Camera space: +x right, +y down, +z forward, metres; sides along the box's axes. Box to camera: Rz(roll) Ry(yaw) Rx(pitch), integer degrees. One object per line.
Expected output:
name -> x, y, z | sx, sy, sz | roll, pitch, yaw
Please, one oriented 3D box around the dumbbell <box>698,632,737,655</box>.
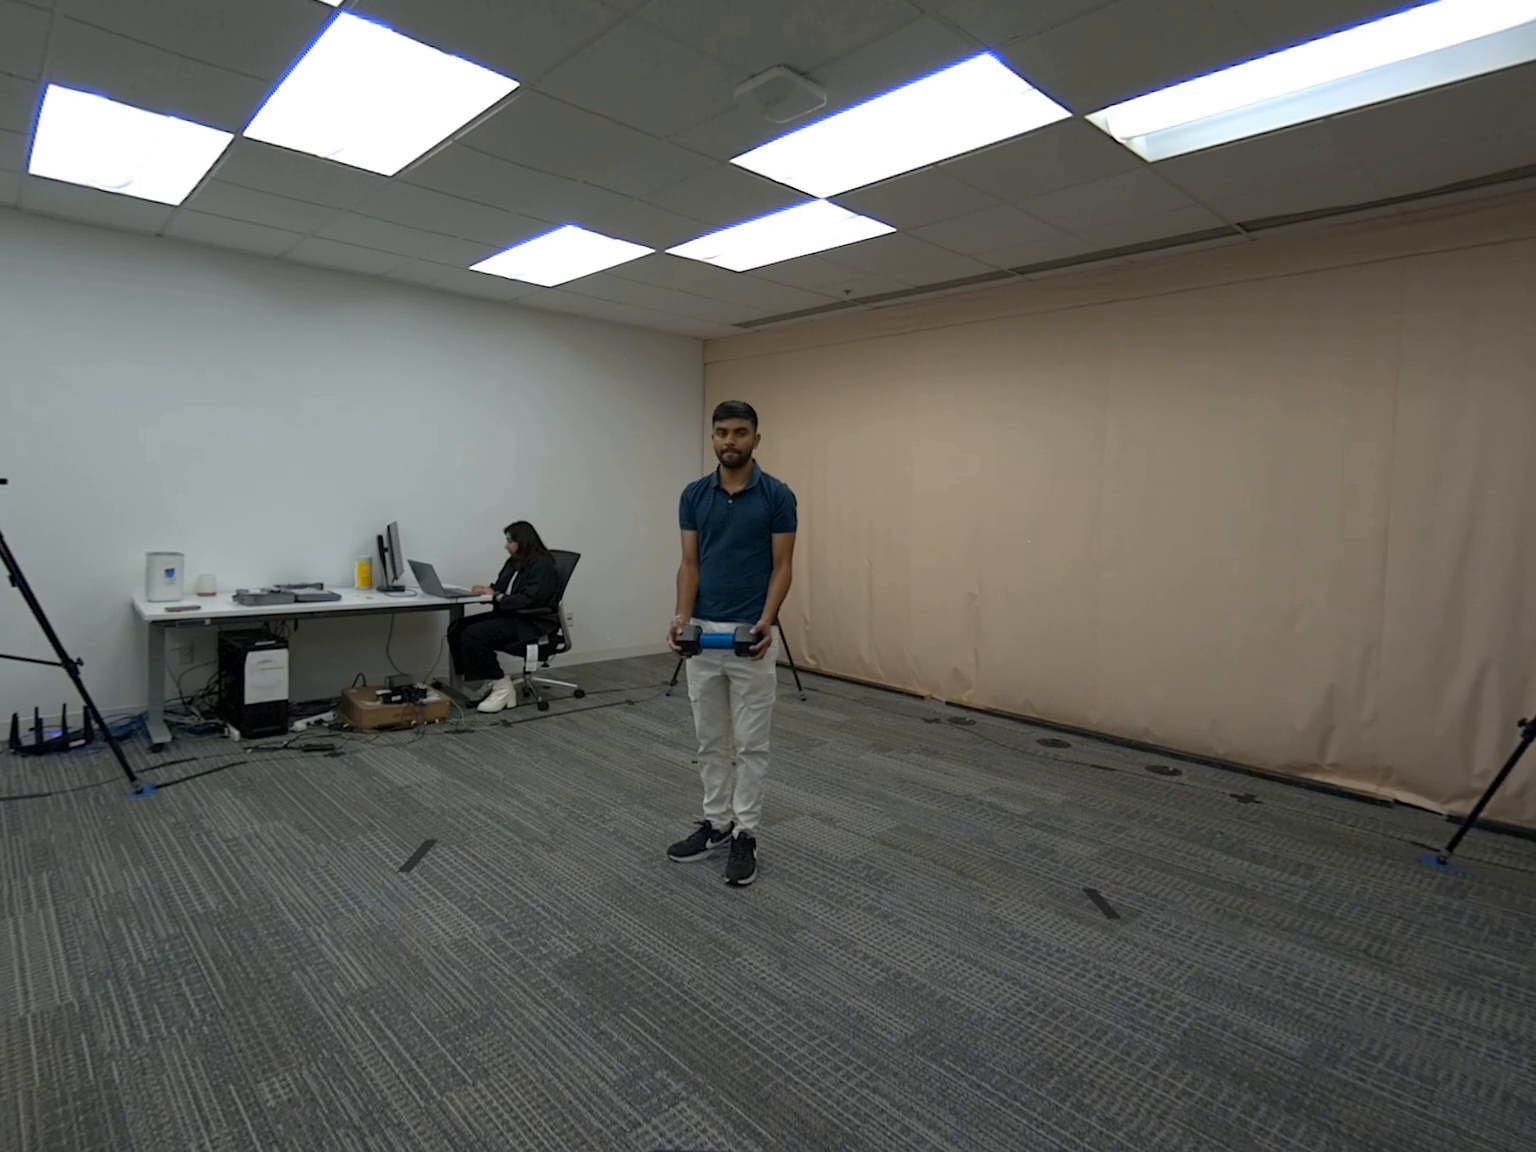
dumbbell -> -0.175, 0.223, 2.983 | 0.296, 0.109, 0.121 | -2, 0, 13
